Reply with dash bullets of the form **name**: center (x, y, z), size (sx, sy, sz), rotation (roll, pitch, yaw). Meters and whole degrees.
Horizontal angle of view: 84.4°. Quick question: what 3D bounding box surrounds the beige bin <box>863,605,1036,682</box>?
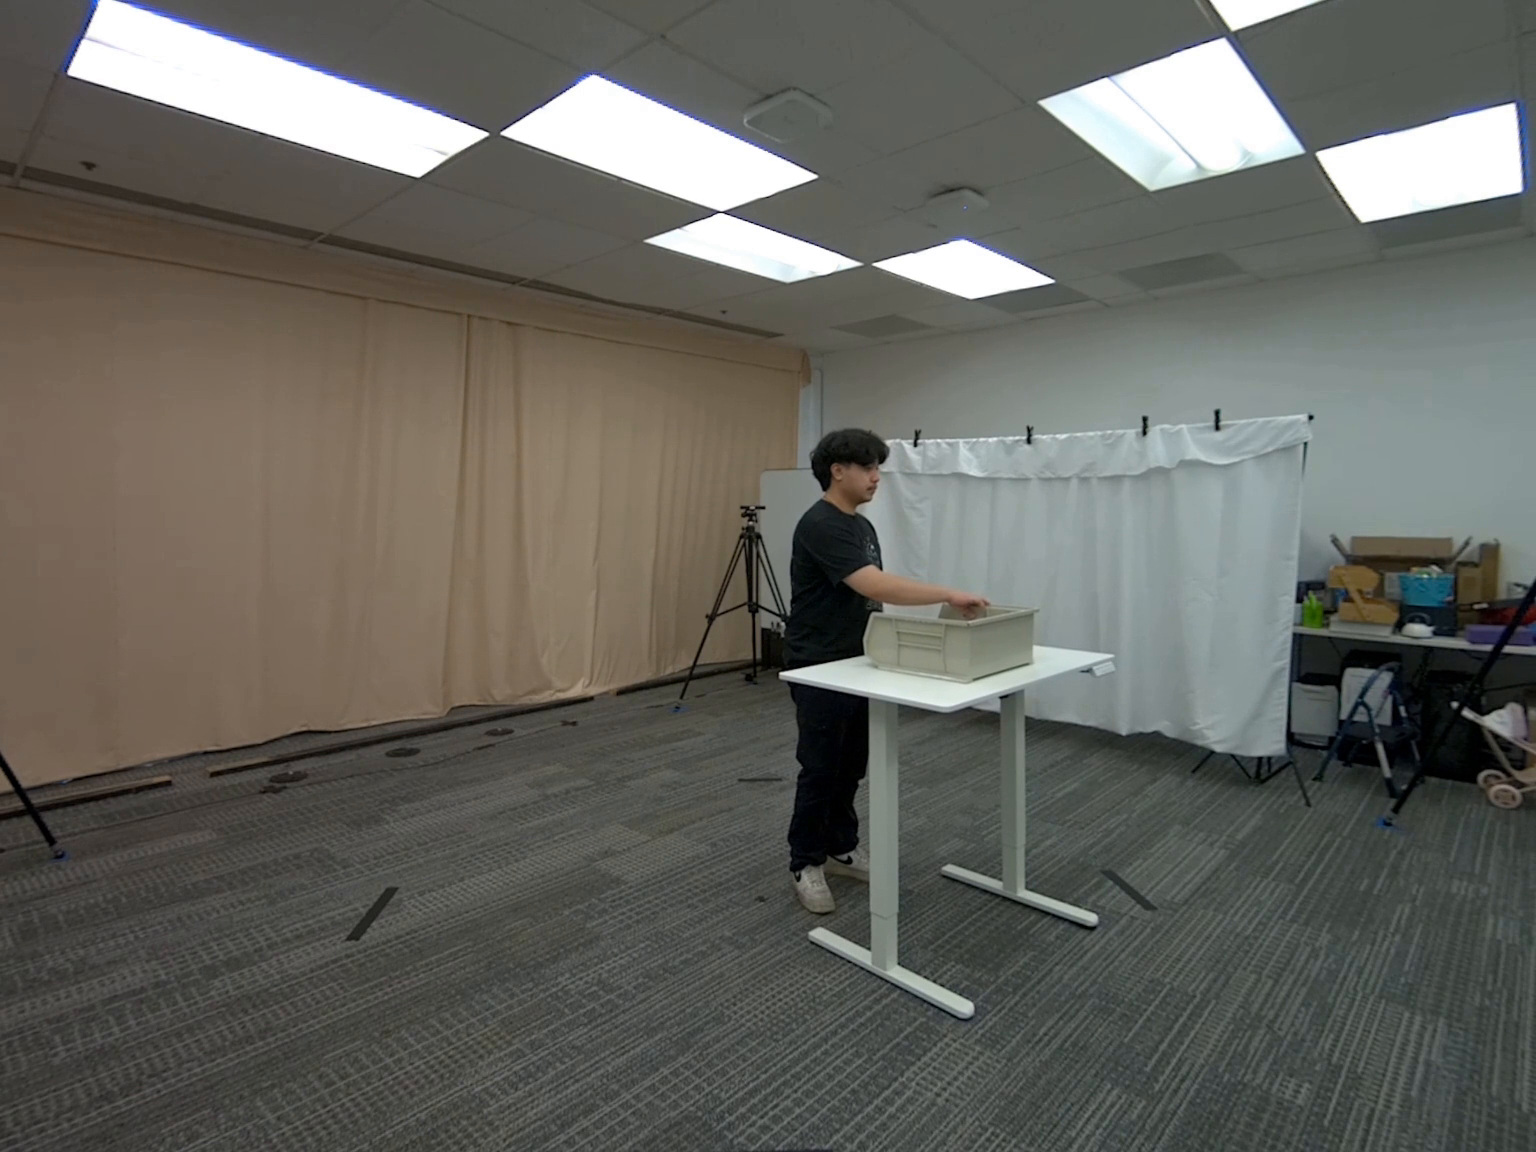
- **beige bin**: center (0.577, 0.194, 2.671), size (0.409, 0.188, 0.390), rotation (-4, 6, -43)
